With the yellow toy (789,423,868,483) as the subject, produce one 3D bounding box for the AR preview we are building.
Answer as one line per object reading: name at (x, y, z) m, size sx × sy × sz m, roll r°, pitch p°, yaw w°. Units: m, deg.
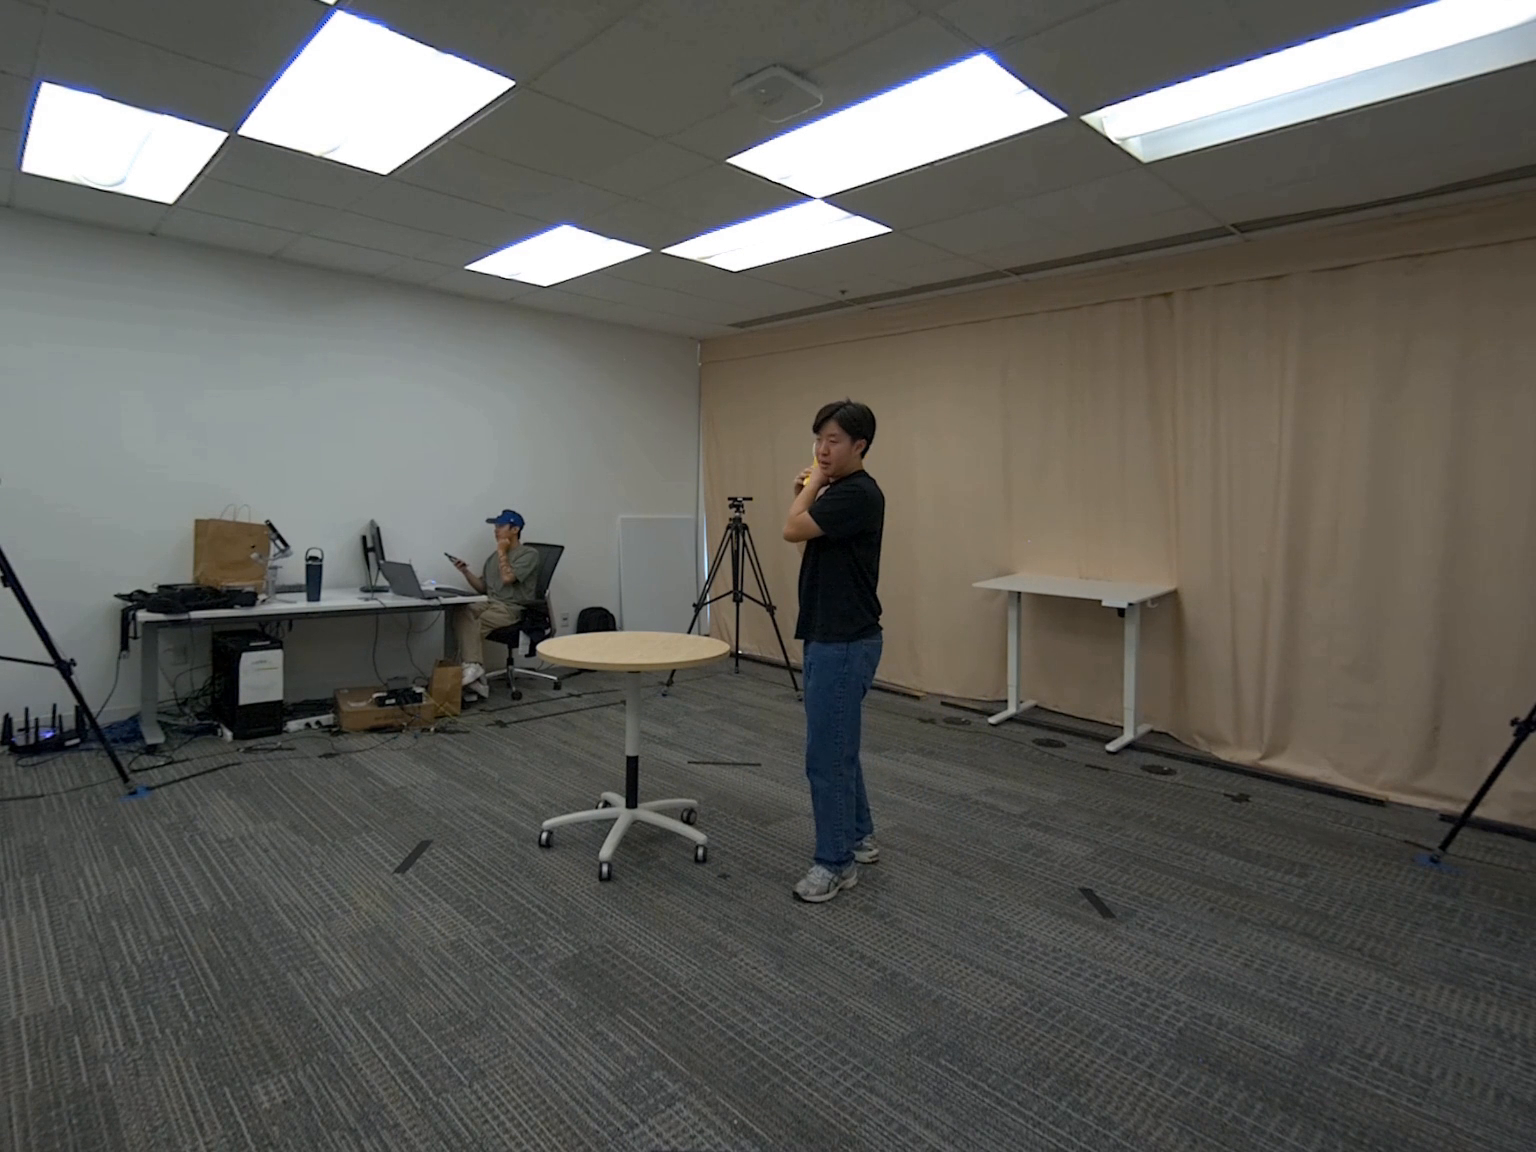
yellow toy at (0.233, -0.476, 3.265) m, size 0.189 × 0.230 × 0.209 m, roll -10°, pitch 5°, yaw -36°
